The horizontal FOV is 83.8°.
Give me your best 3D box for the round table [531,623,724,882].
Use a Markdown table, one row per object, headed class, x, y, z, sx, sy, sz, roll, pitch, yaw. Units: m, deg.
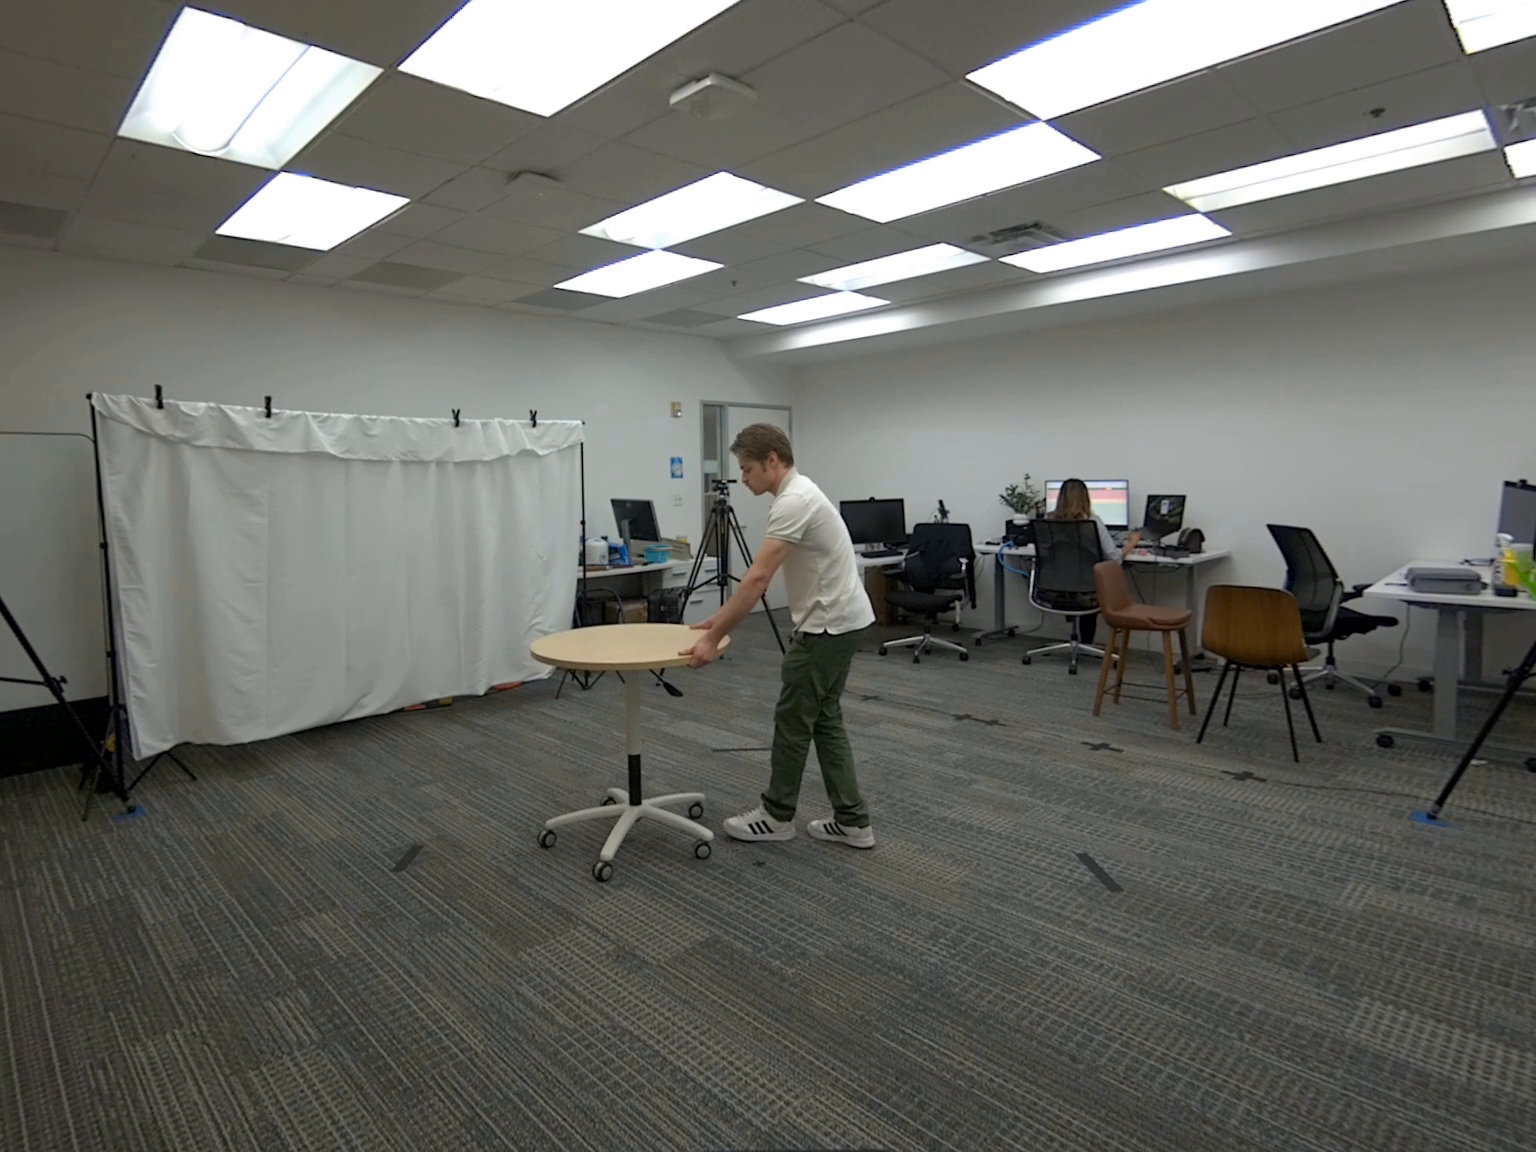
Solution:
| class | x | y | z | sx | sy | sz | roll | pitch | yaw |
| --- | --- | --- | --- | --- | --- | --- | --- | --- | --- |
| round table | -0.509 | 0.635 | 3.324 | 0.784 | 0.783 | 0.789 | -1 | 5 | -2 |
